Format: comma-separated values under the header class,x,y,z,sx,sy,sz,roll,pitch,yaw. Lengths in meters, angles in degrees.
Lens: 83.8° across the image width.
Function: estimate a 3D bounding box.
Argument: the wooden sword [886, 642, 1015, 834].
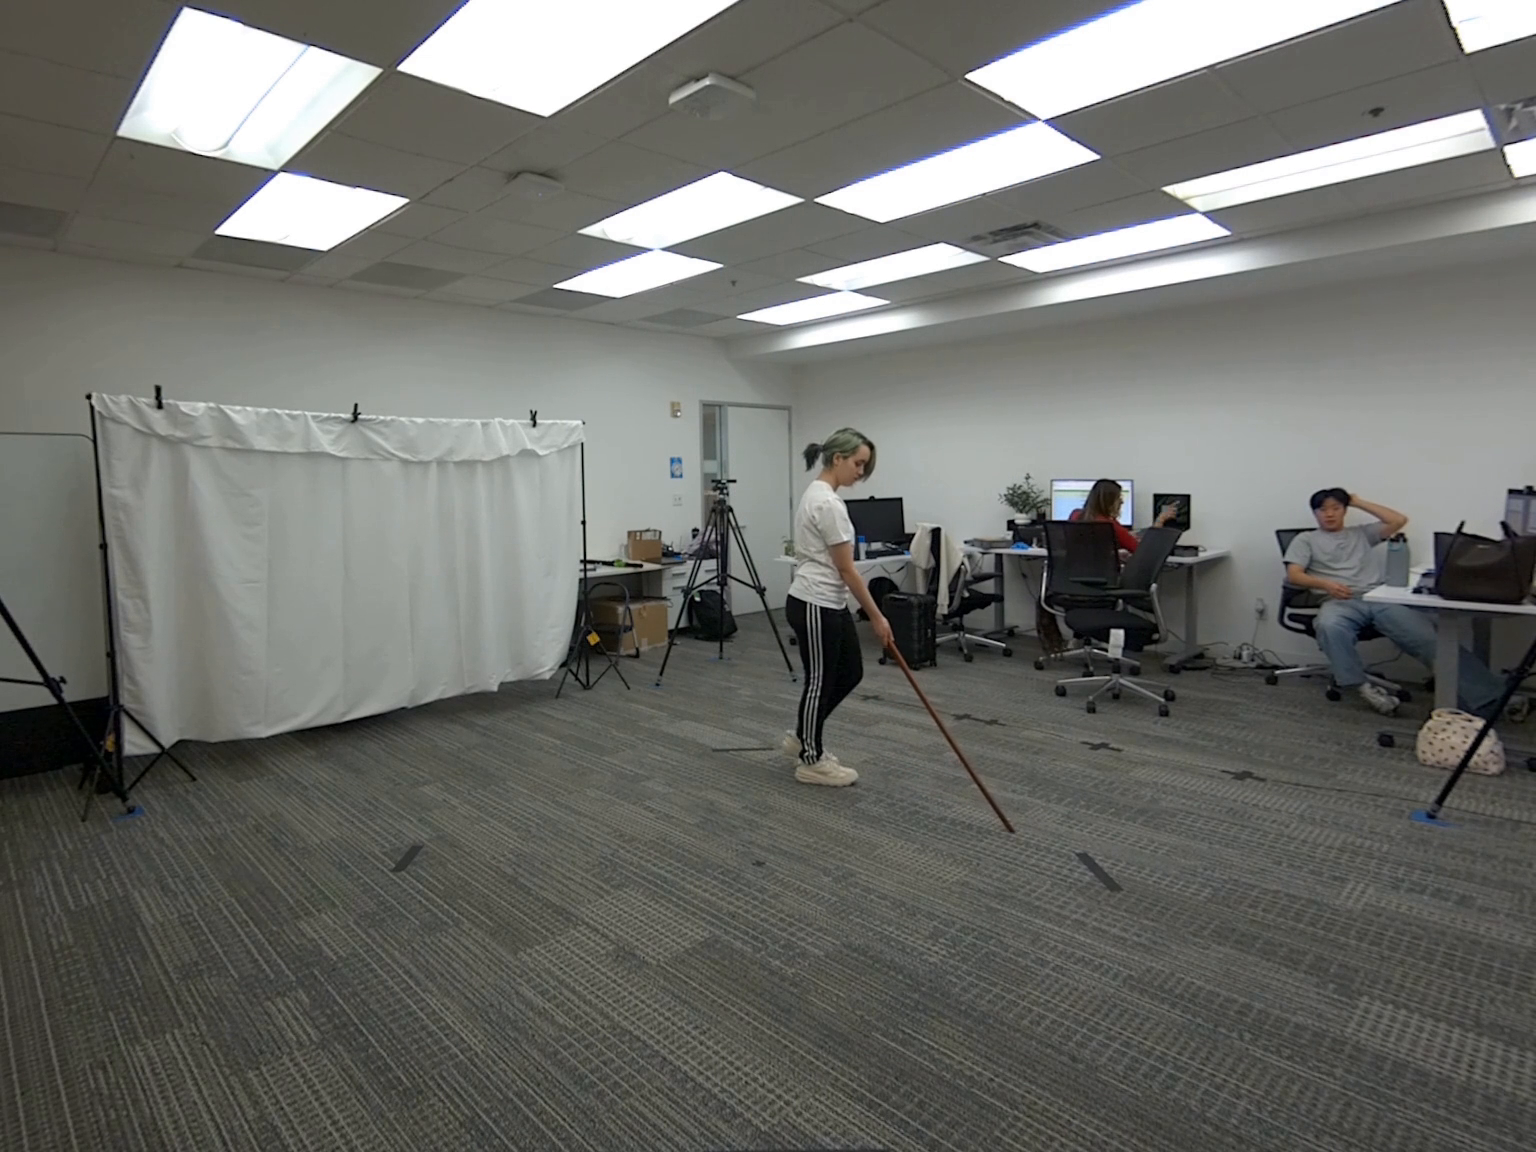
class,x,y,z,sx,sy,sz,roll,pitch,yaw
wooden sword,0.714,0.604,3.590,0.051,1.057,0.023,-26,-27,-13
